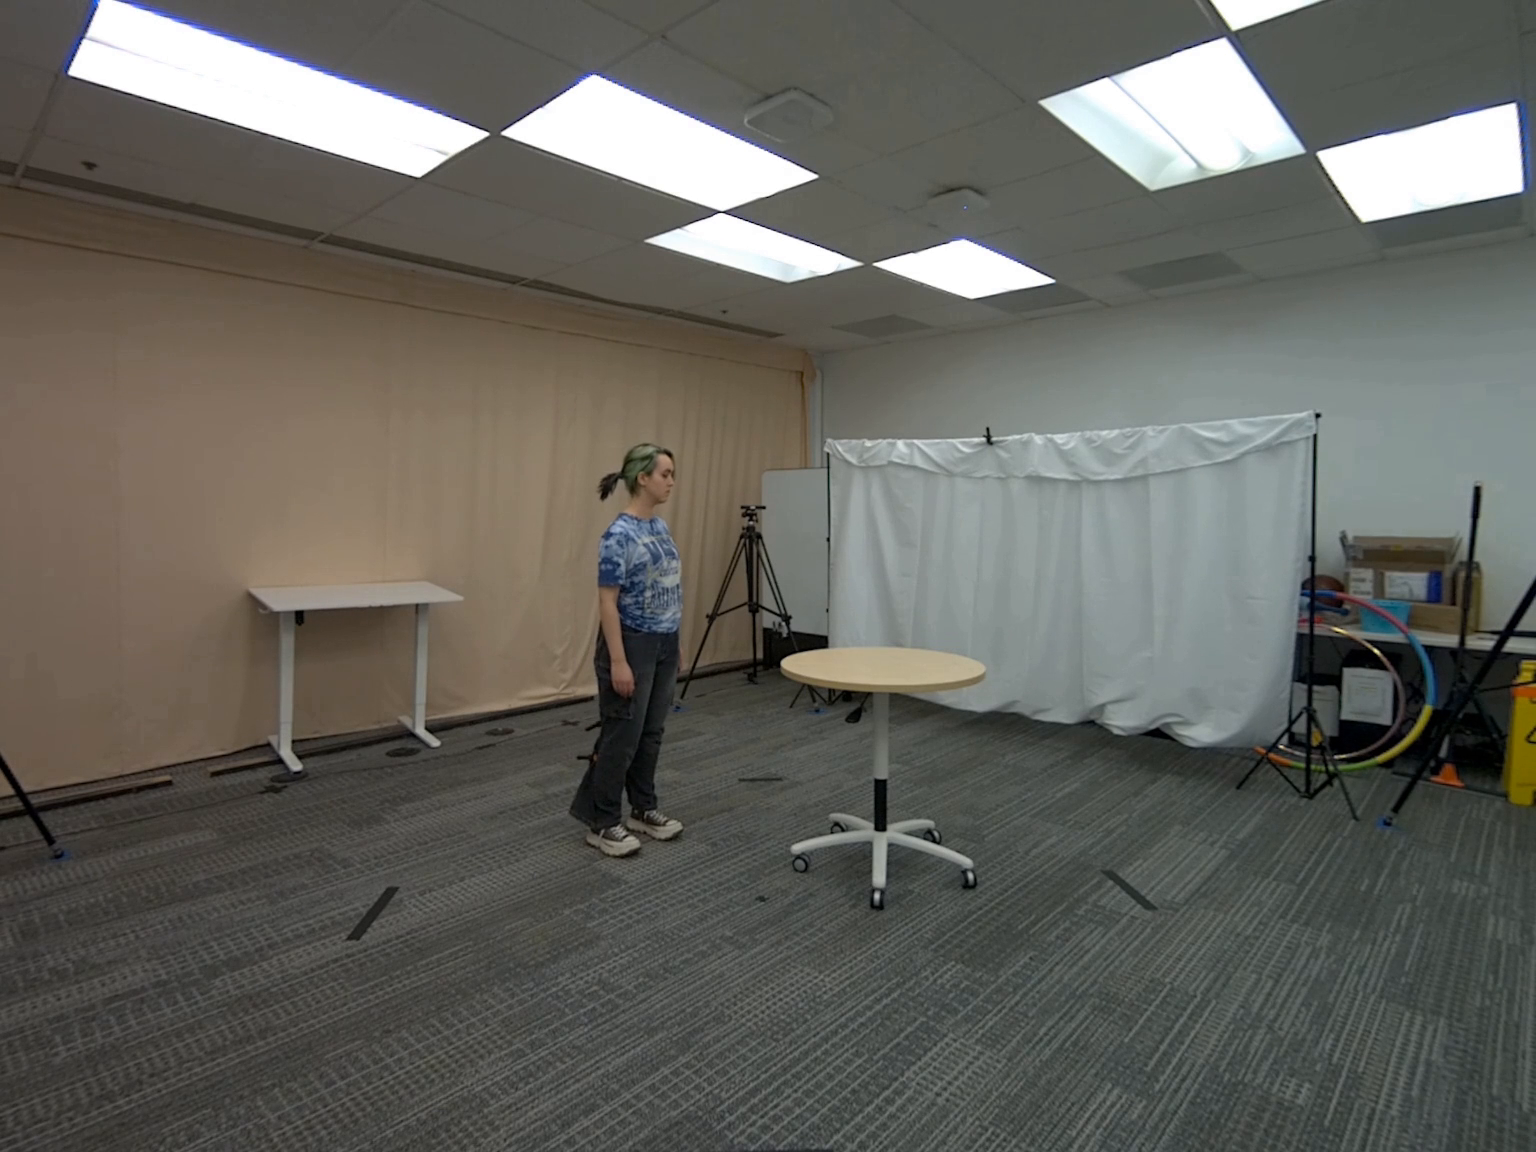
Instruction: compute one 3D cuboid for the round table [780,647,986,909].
[{"bbox_3d":[0.435,0.732,3.234,0.763,0.792,0.766,0,4,-2],"label":"round table"}]
